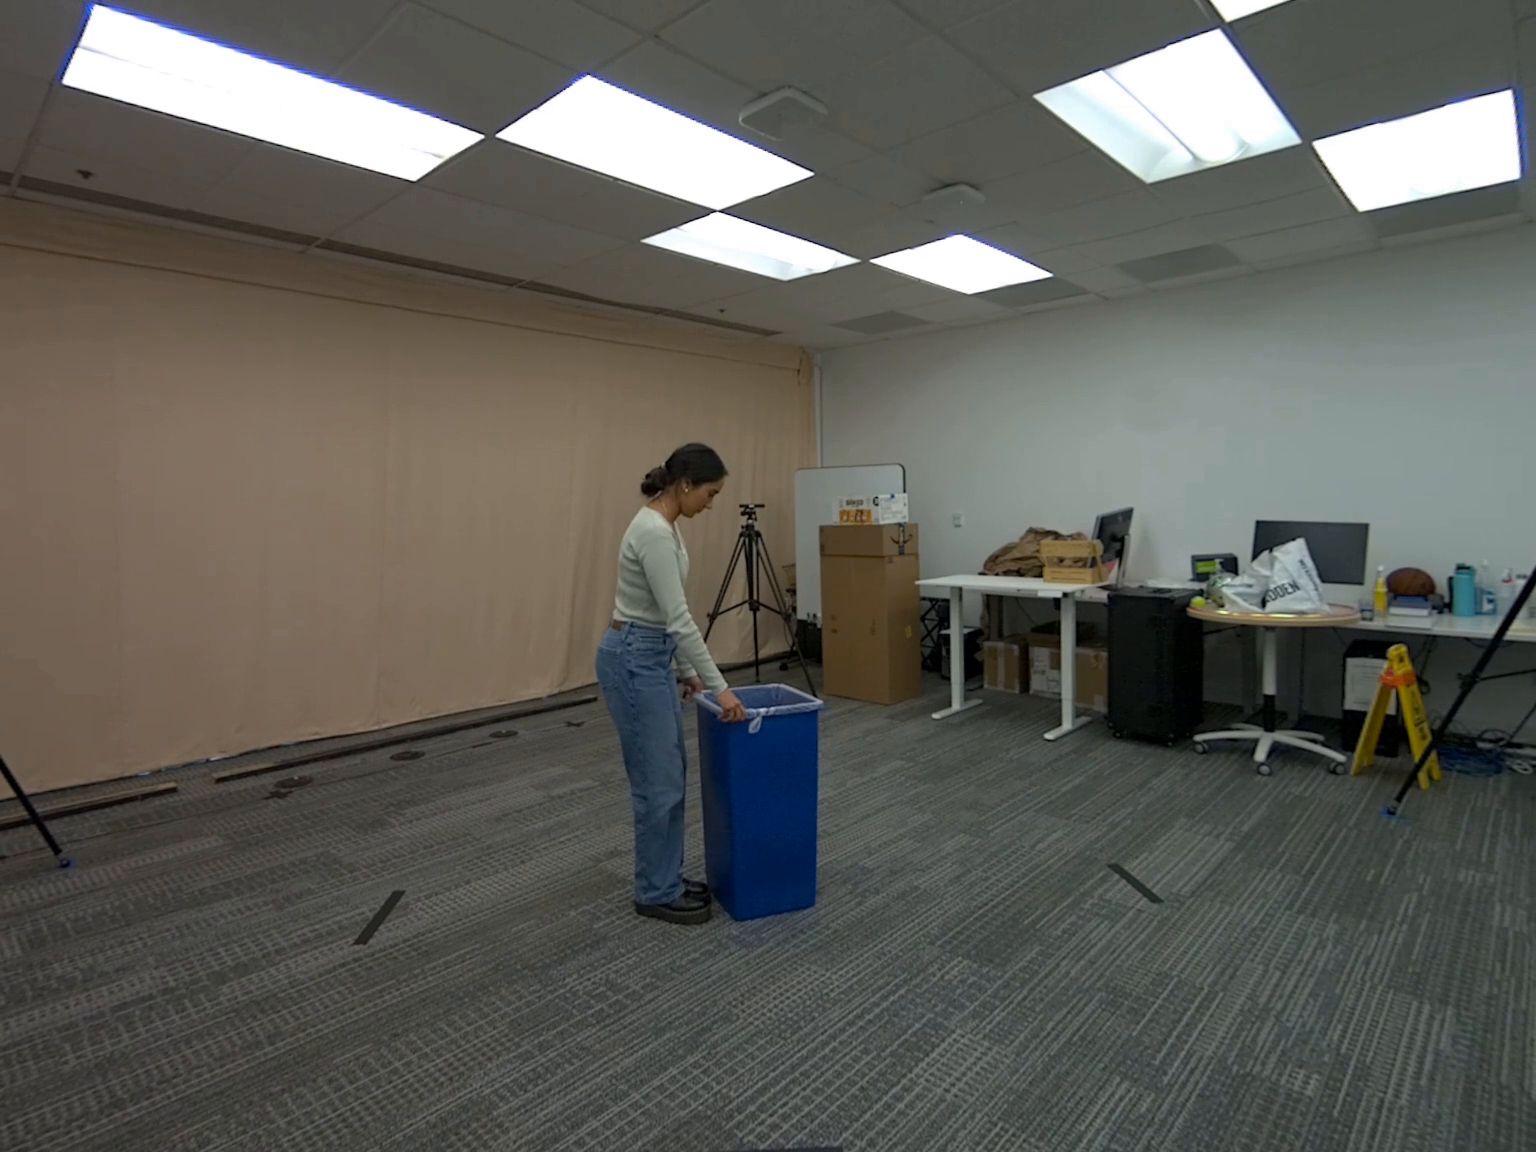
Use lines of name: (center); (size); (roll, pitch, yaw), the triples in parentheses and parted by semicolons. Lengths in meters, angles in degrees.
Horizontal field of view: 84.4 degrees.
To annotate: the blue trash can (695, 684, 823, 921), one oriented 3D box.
blue trash can: (-0.038, 0.781, 2.982); (0.370, 0.712, 0.383); (-2, 3, -23)
